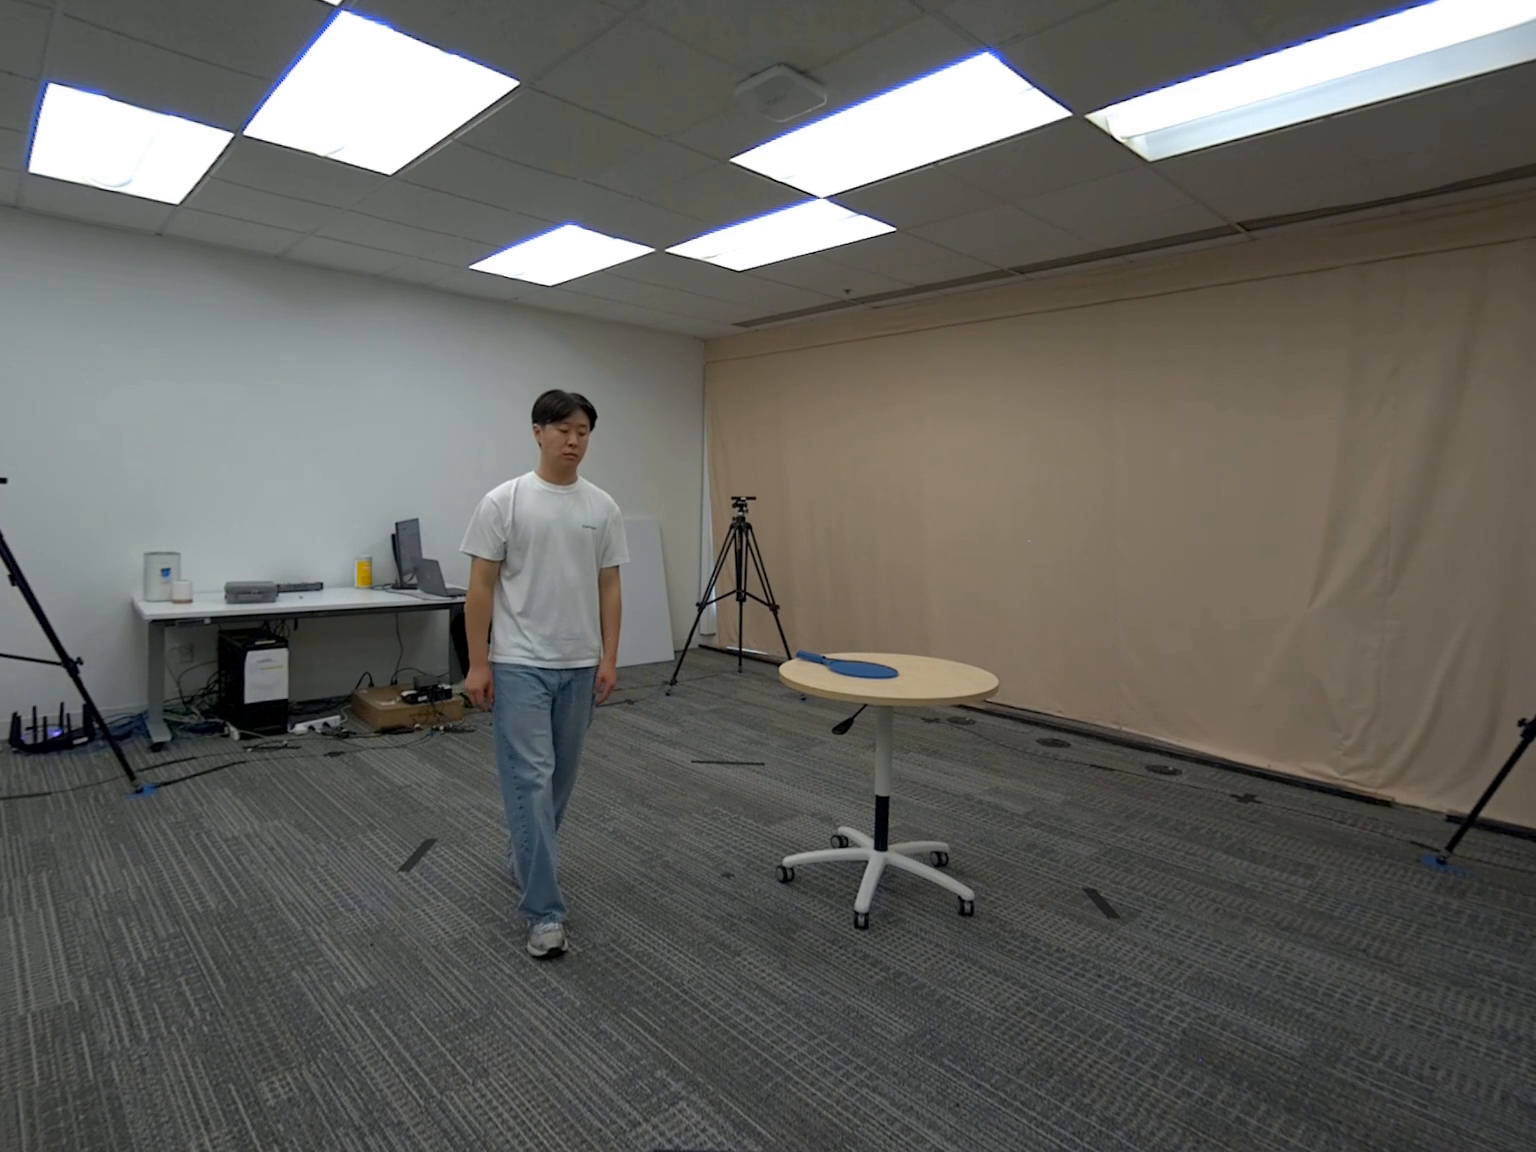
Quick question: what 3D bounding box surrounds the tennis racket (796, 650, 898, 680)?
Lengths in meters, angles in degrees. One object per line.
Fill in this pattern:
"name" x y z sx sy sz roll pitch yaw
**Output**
"tennis racket" 0.277 0.326 3.075 0.209 0.031 0.444 -4 9 -44
